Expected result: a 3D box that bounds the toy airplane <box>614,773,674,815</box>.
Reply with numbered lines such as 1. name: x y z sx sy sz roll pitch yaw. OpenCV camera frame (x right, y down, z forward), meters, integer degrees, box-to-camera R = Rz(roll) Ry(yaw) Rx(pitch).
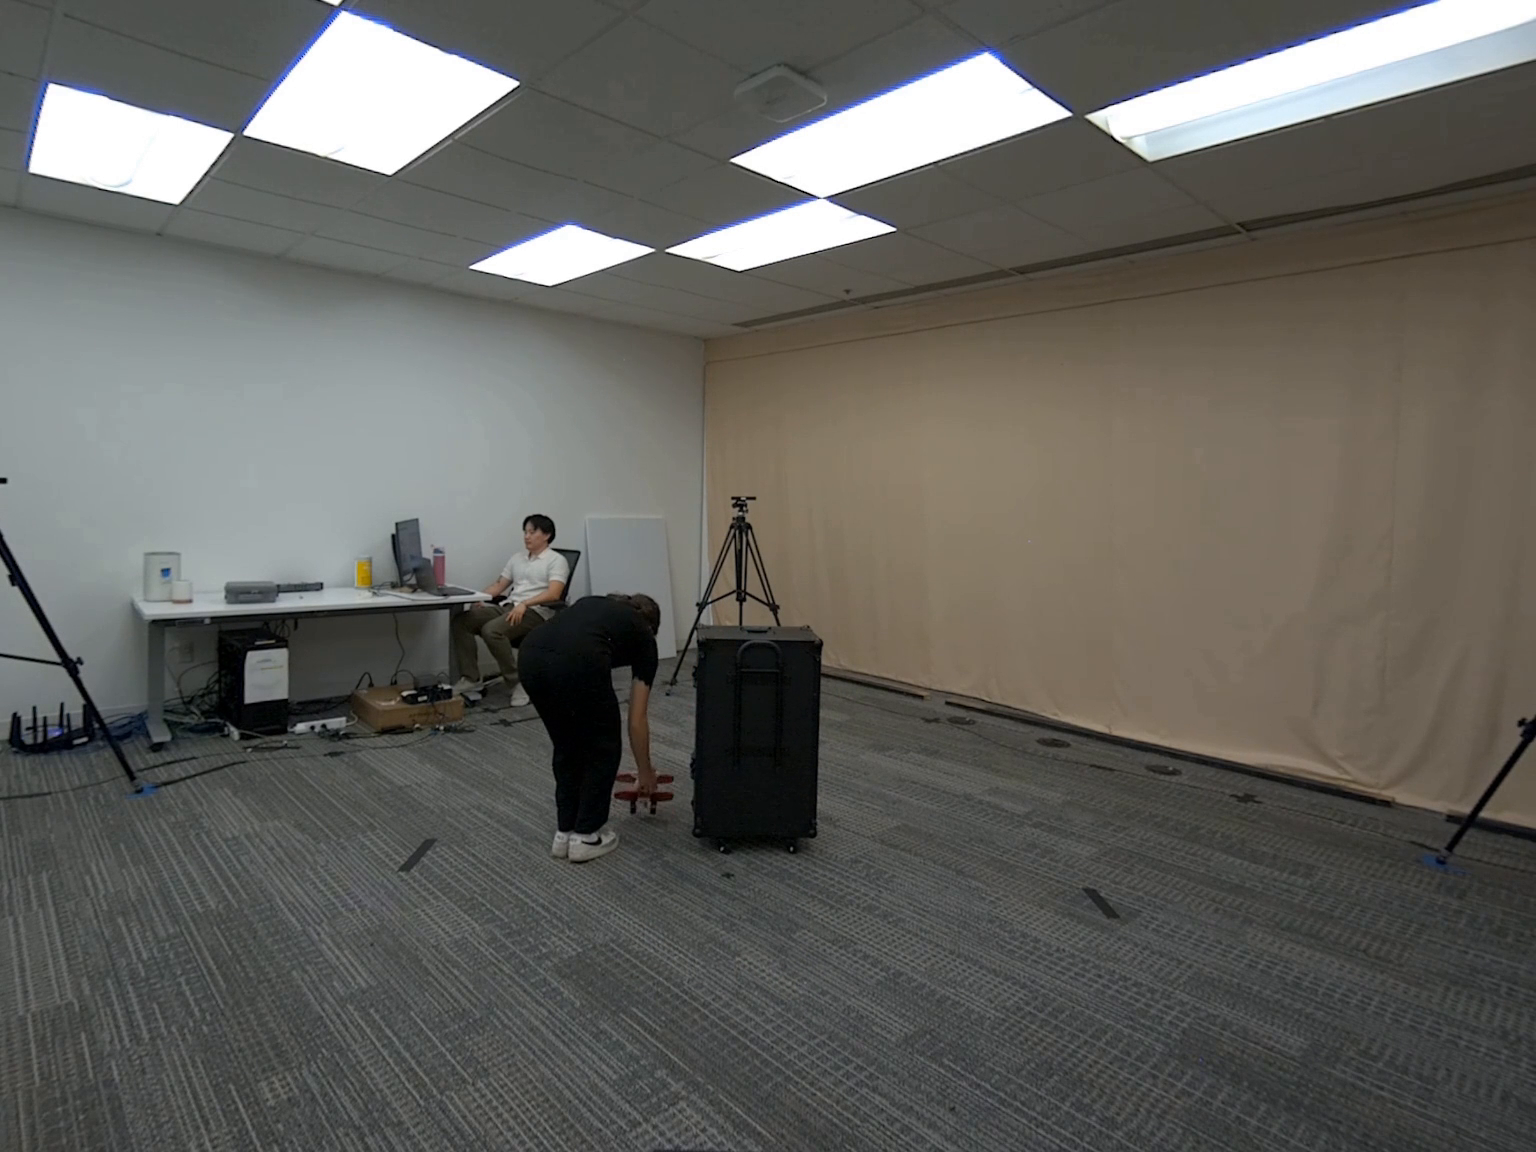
1. toy airplane: -0.518 0.874 3.592 0.245 0.259 0.160 26 35 -23
